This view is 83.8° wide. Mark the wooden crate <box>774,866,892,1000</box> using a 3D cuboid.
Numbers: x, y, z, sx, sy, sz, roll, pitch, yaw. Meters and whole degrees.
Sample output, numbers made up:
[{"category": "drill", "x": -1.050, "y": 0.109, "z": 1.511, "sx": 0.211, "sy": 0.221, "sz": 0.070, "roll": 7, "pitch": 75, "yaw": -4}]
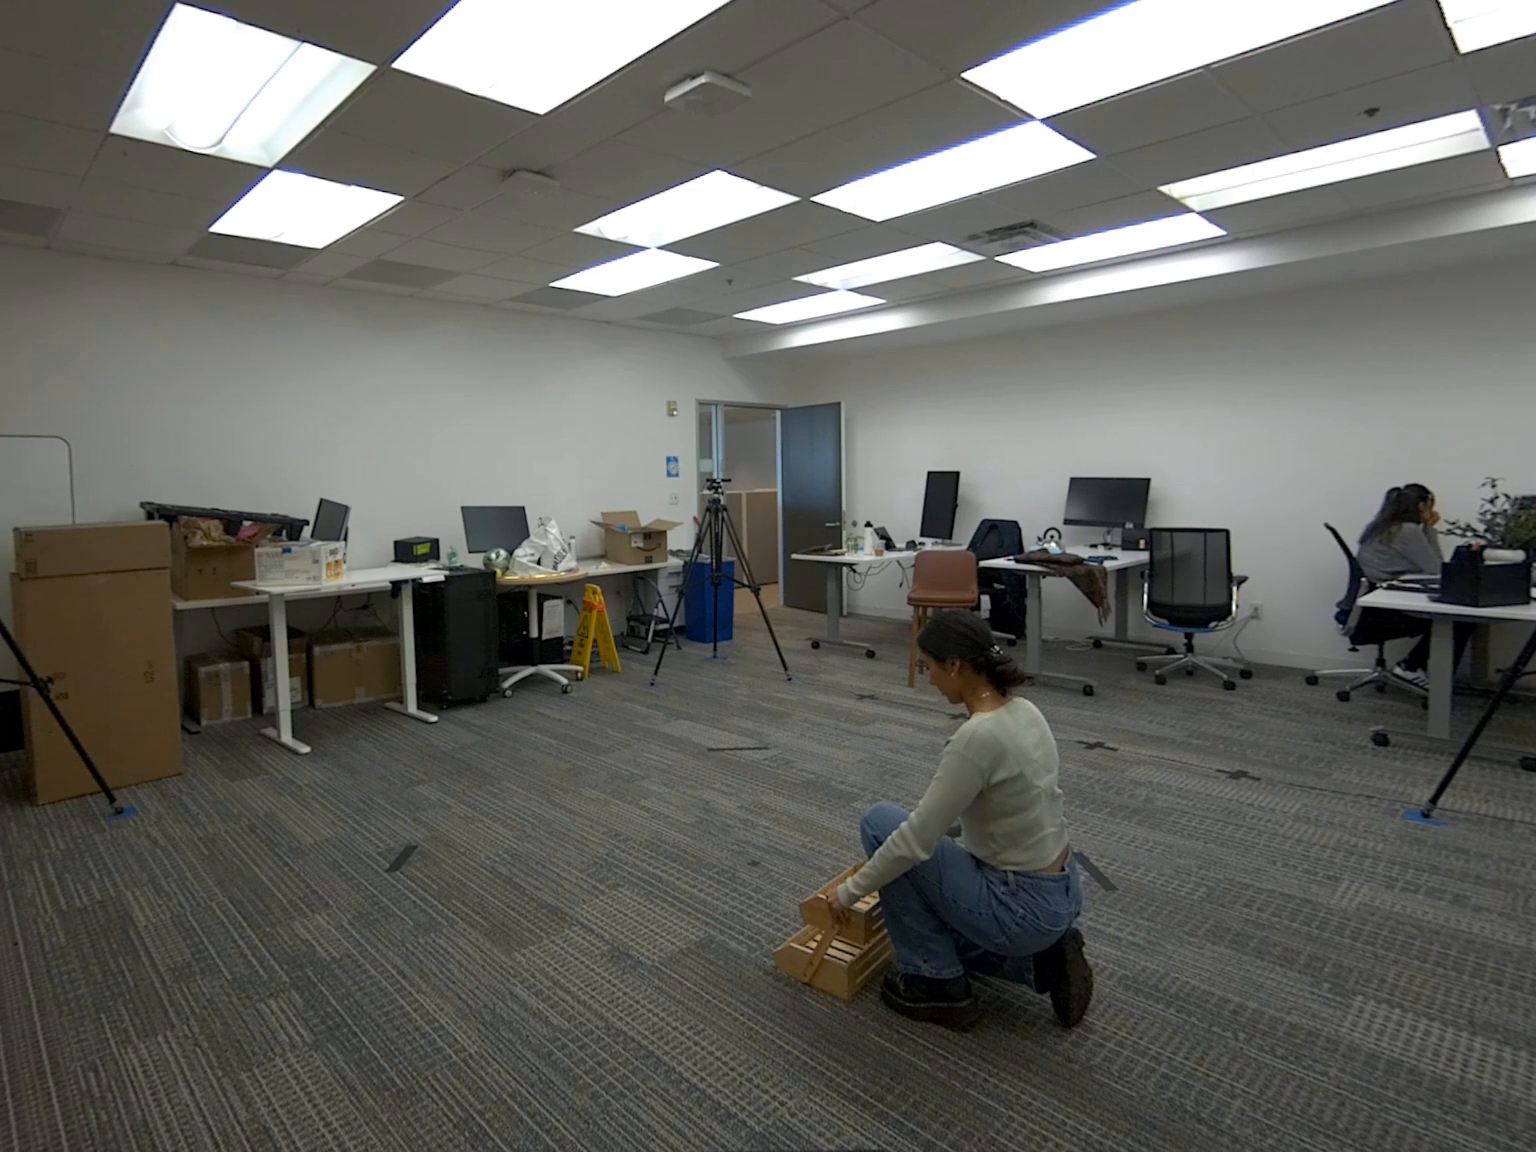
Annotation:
[{"category": "wooden crate", "x": 0.221, "y": 0.980, "z": 2.450, "sx": 0.311, "sy": 0.272, "sz": 0.316, "roll": 4, "pitch": 8, "yaw": 38}]
